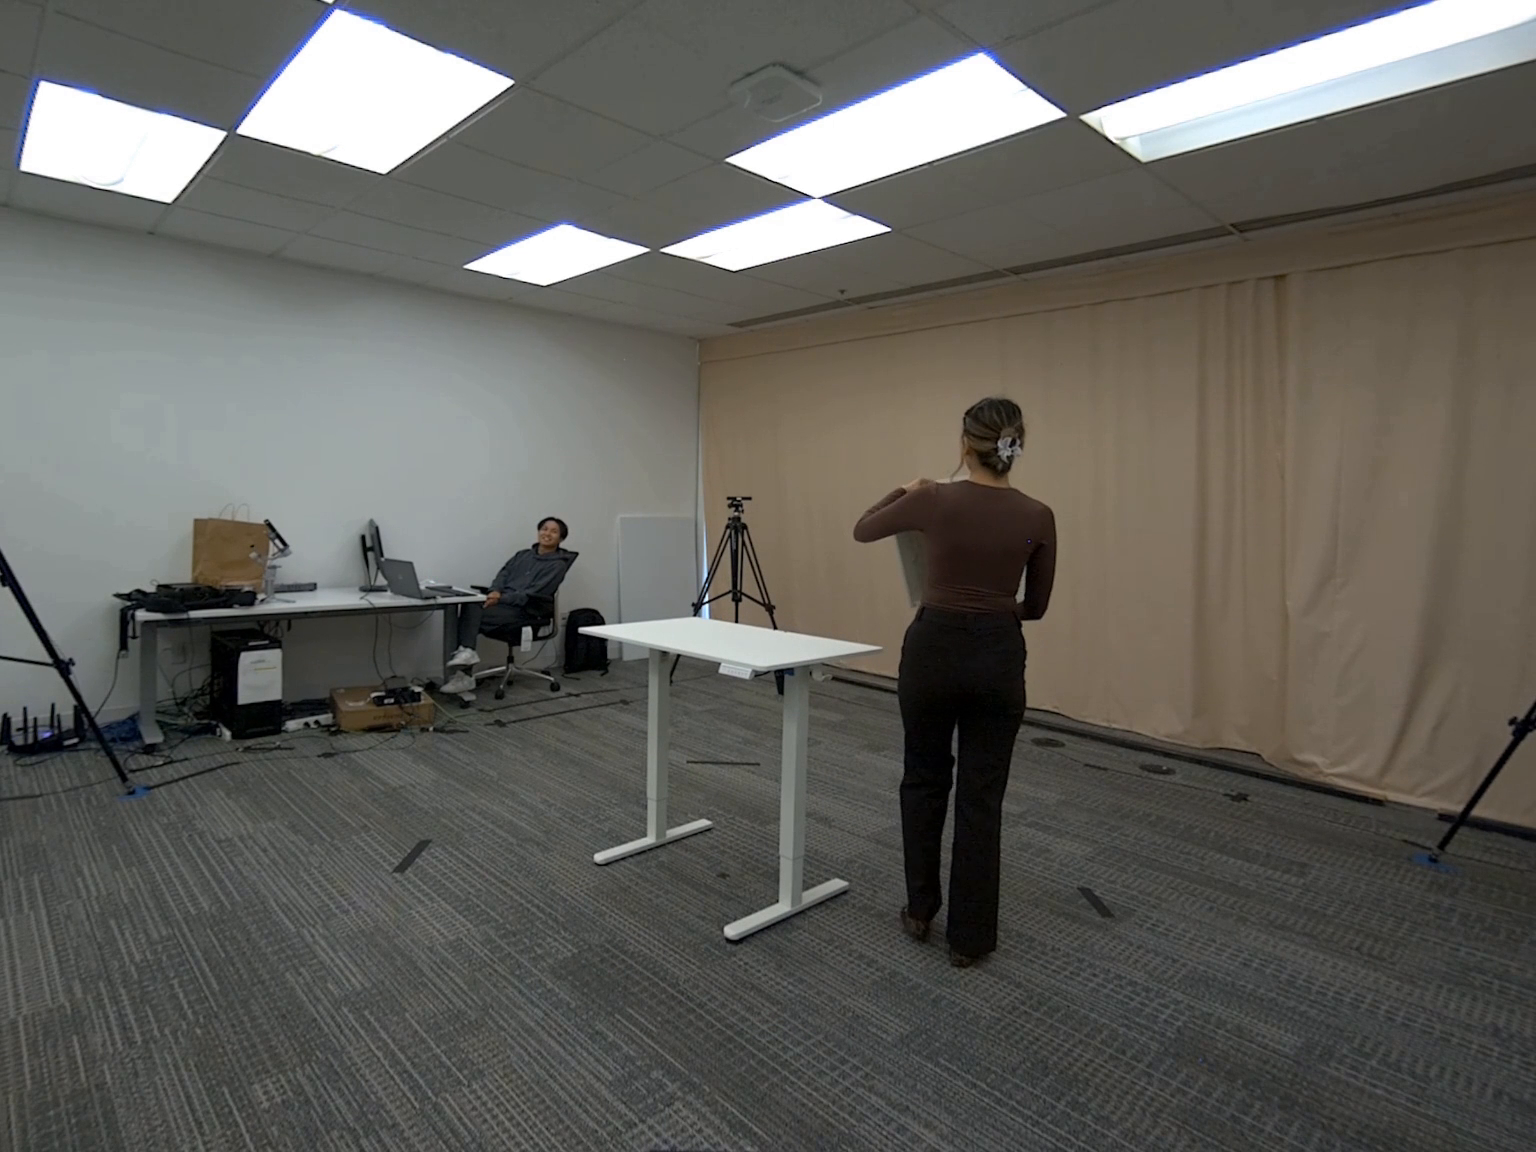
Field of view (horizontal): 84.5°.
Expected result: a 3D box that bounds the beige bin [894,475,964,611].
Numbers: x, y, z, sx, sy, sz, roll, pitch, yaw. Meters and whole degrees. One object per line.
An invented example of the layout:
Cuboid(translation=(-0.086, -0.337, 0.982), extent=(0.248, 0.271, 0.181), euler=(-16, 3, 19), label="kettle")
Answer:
Cuboid(translation=(0.663, -0.123, 2.996), extent=(0.384, 0.417, 0.188), euler=(-7, 15, 30), label="beige bin")
